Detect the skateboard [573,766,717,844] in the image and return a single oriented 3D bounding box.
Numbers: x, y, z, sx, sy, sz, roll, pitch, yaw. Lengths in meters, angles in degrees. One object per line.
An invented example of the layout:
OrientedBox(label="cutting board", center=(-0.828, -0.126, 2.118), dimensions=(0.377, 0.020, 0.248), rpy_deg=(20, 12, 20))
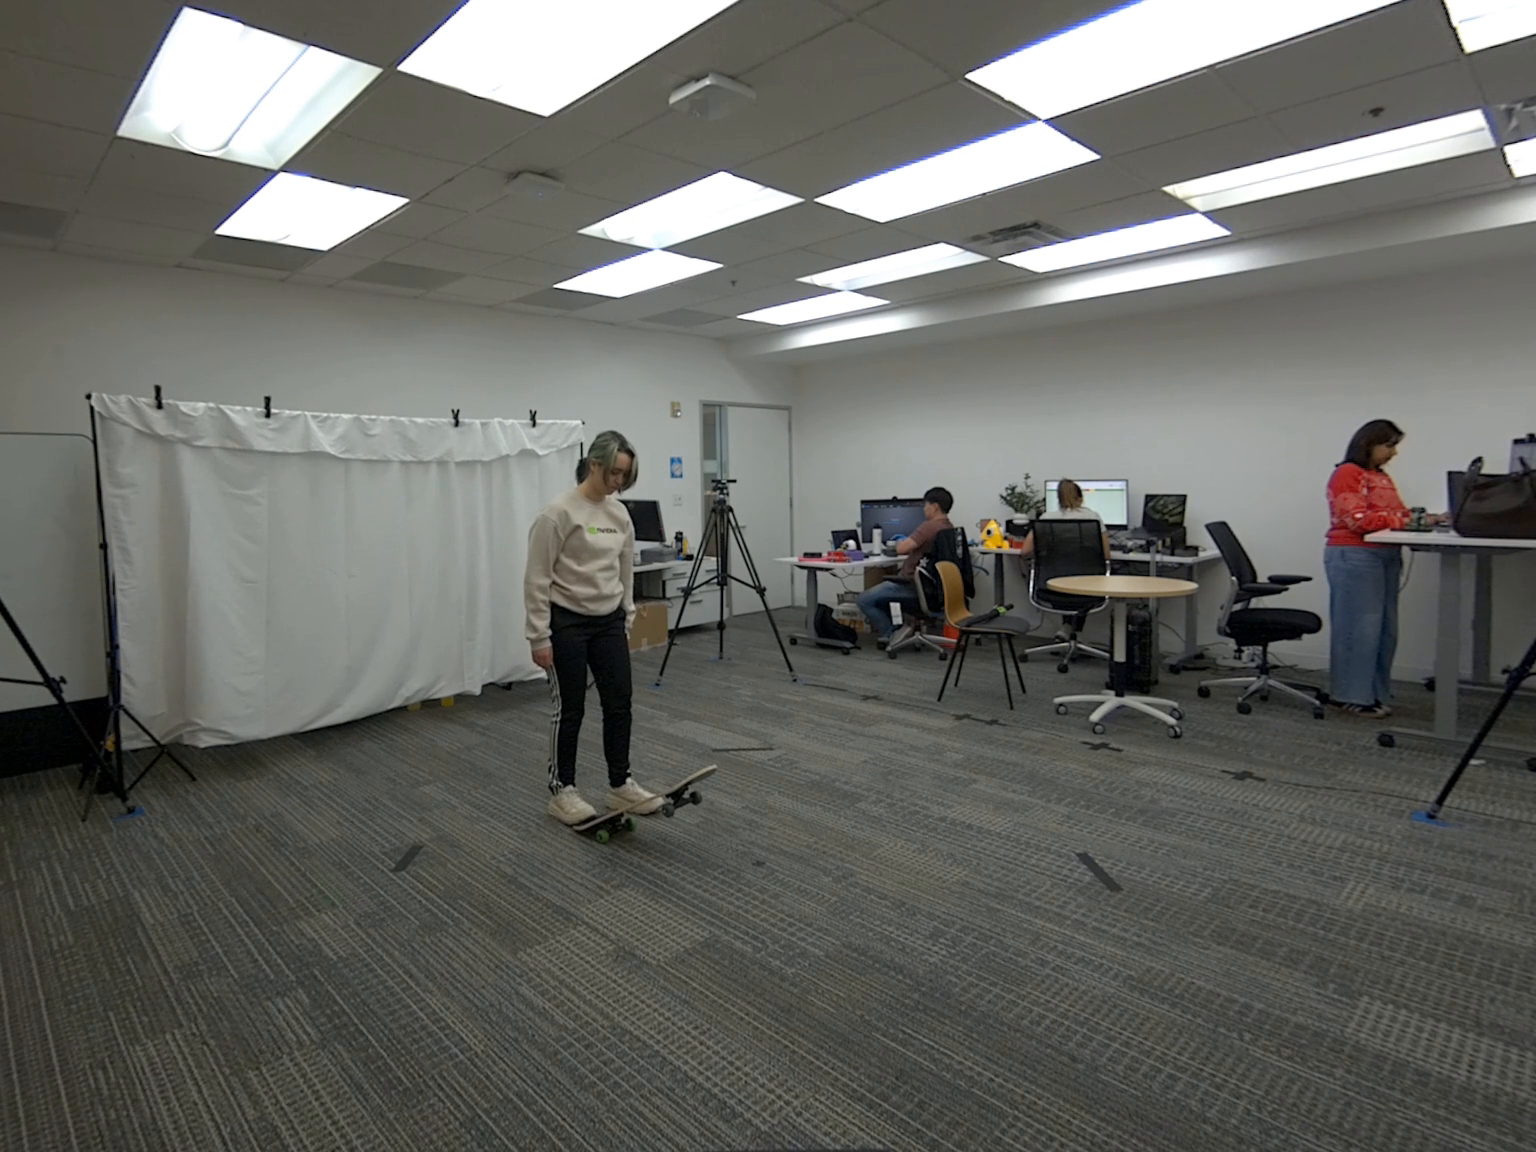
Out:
OrientedBox(label="skateboard", center=(-0.468, 0.897, 3.267), dimensions=(0.793, 0.112, 0.189), rpy_deg=(-31, -13, 36))
